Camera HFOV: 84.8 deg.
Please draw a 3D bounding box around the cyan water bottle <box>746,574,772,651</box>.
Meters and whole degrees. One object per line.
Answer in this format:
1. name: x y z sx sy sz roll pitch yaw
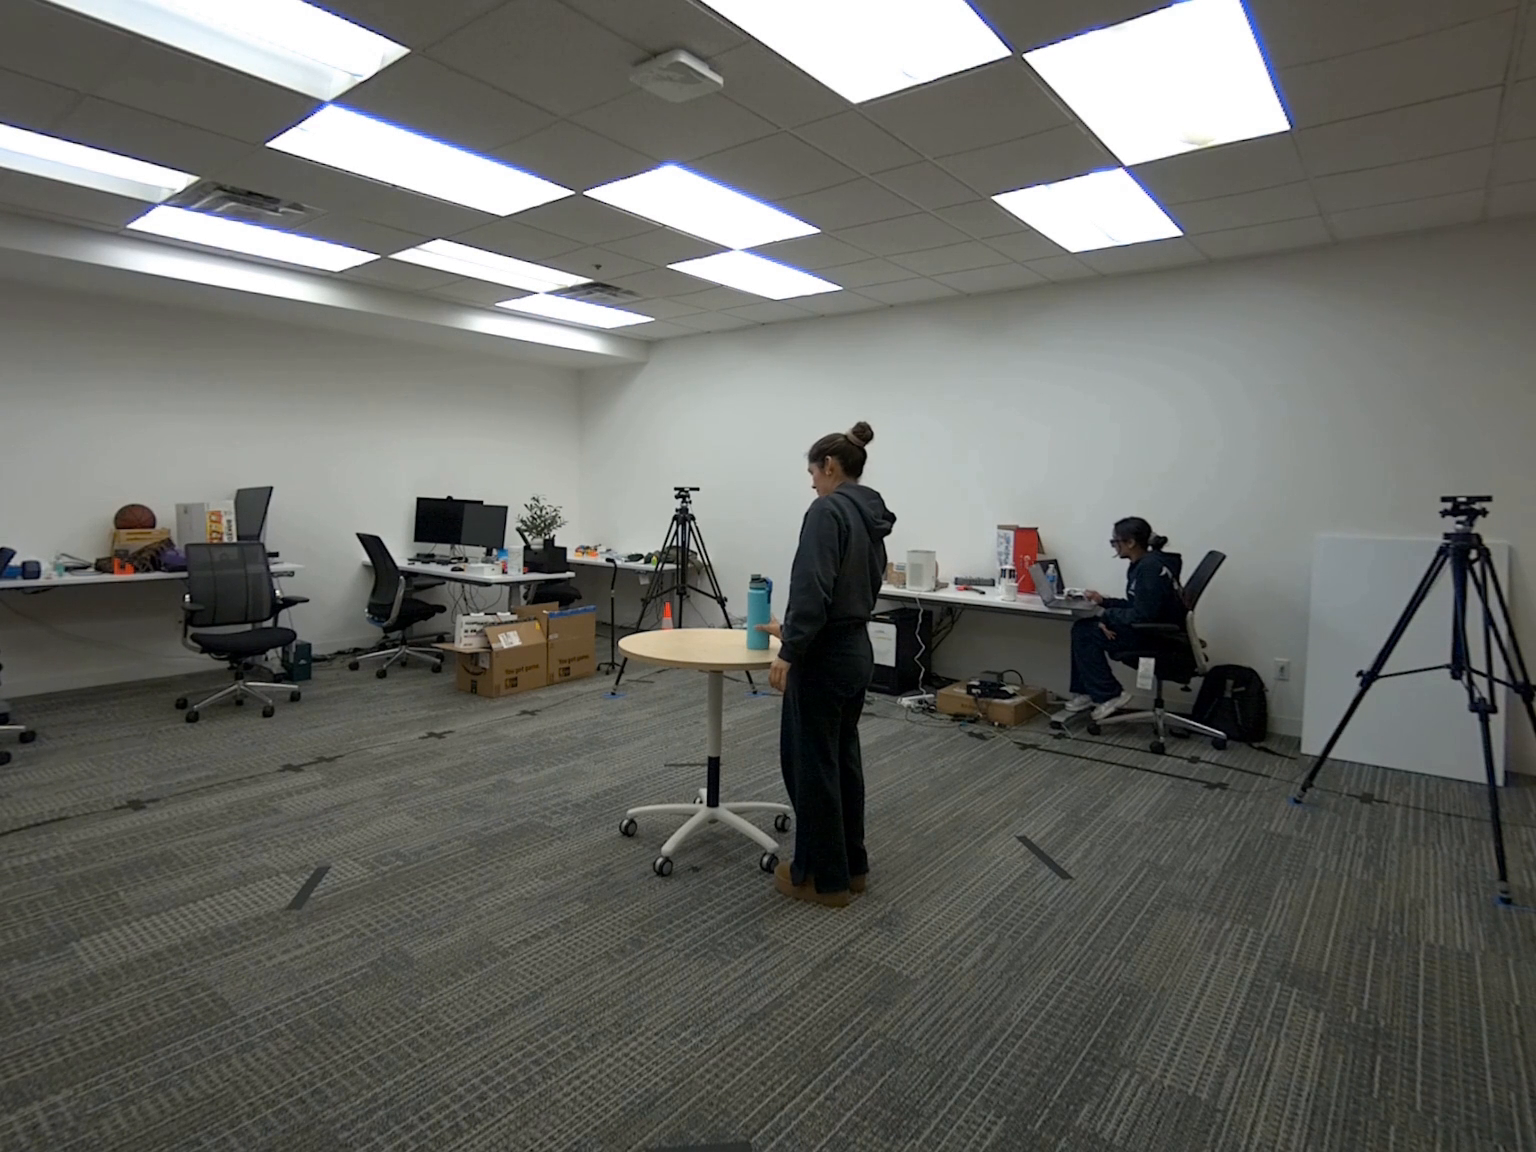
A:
1. cyan water bottle: -0.039 0.132 3.260 0.092 0.282 0.093 5 3 -2
